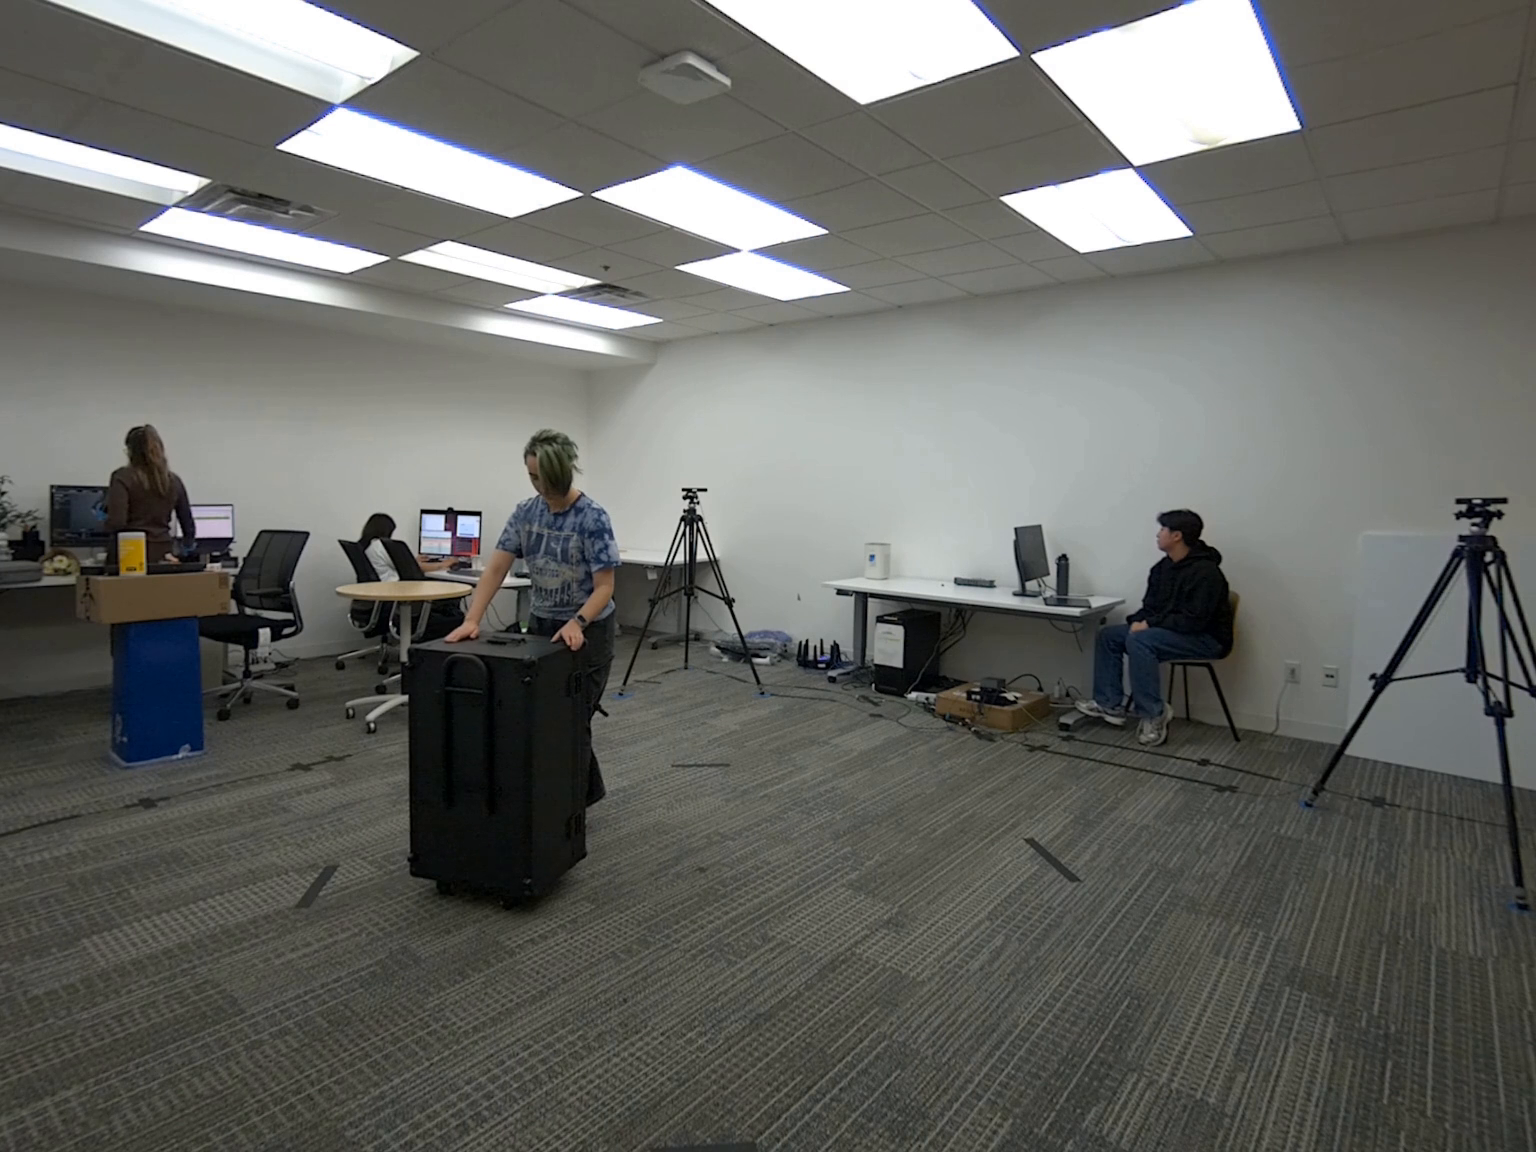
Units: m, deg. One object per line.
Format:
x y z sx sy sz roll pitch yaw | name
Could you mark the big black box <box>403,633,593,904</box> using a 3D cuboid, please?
-0.933 0.655 2.916 0.532 0.857 0.390 2 5 19 | big black box
